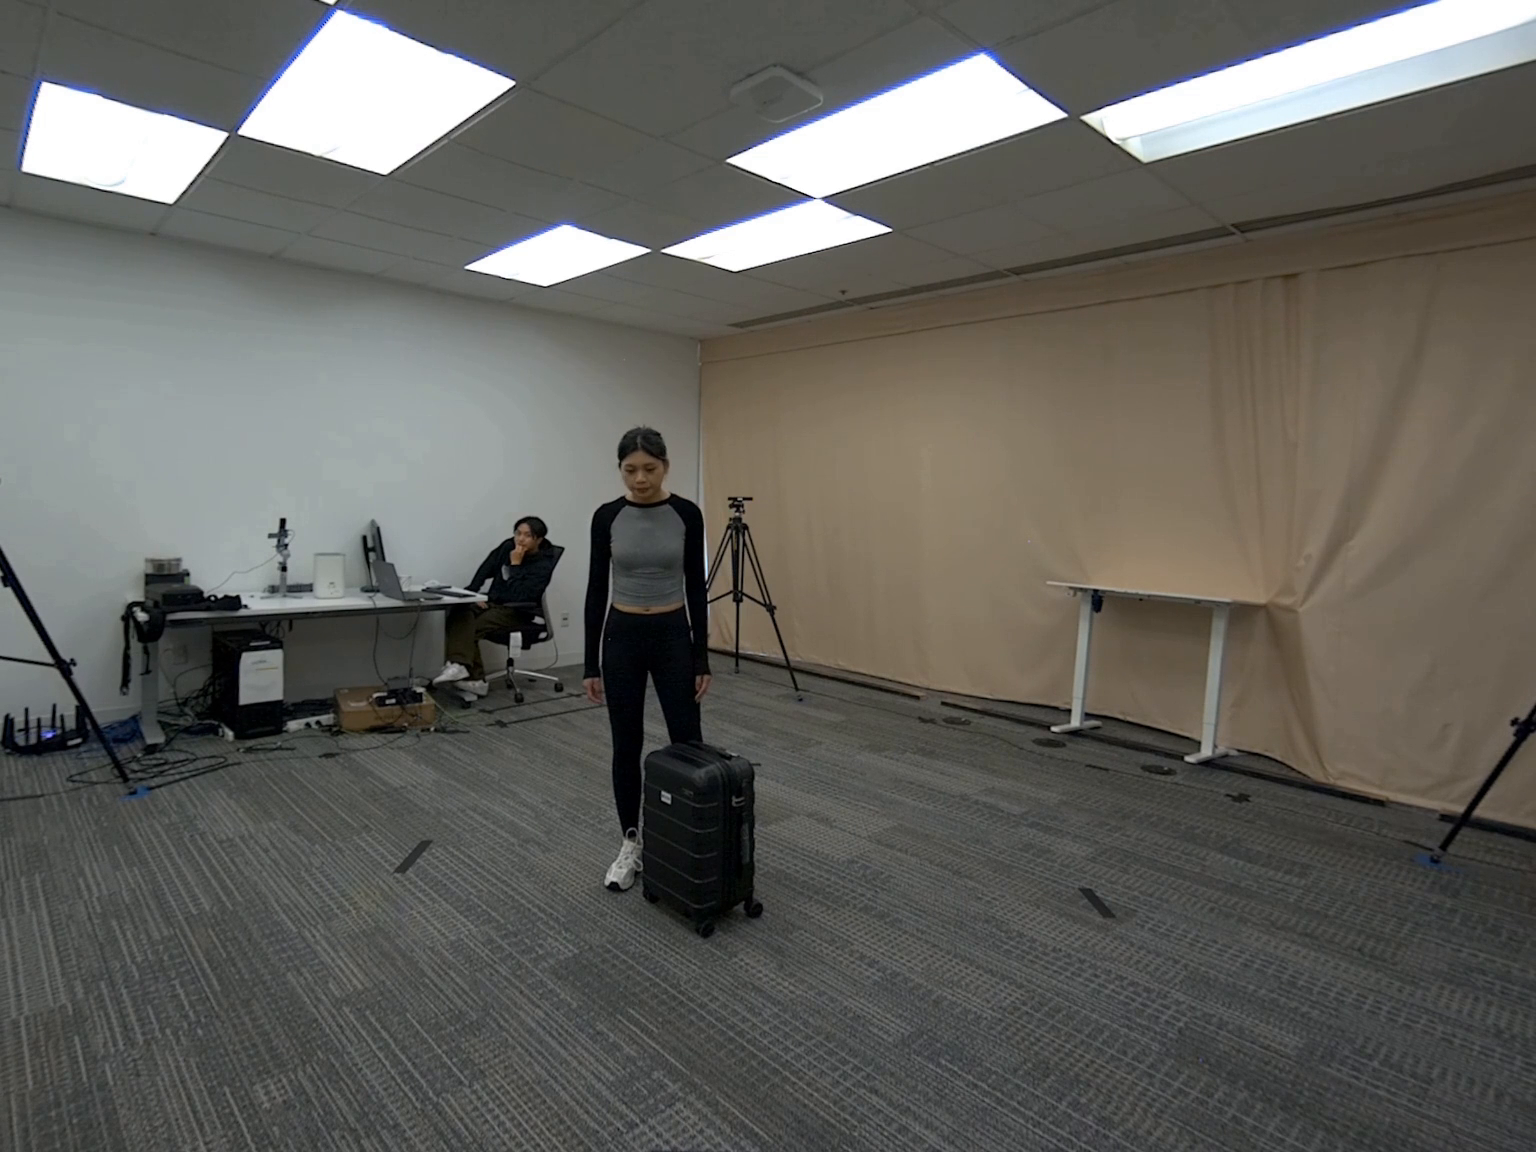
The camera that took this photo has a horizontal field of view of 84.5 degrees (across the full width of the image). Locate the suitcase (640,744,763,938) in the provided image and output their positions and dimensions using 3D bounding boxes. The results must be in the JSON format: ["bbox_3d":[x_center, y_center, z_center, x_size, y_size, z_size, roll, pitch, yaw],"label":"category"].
[{"bbox_3d":[-0.238,0.858,2.823,0.243,0.547,0.385,-4,6,-42],"label":"suitcase"}]
